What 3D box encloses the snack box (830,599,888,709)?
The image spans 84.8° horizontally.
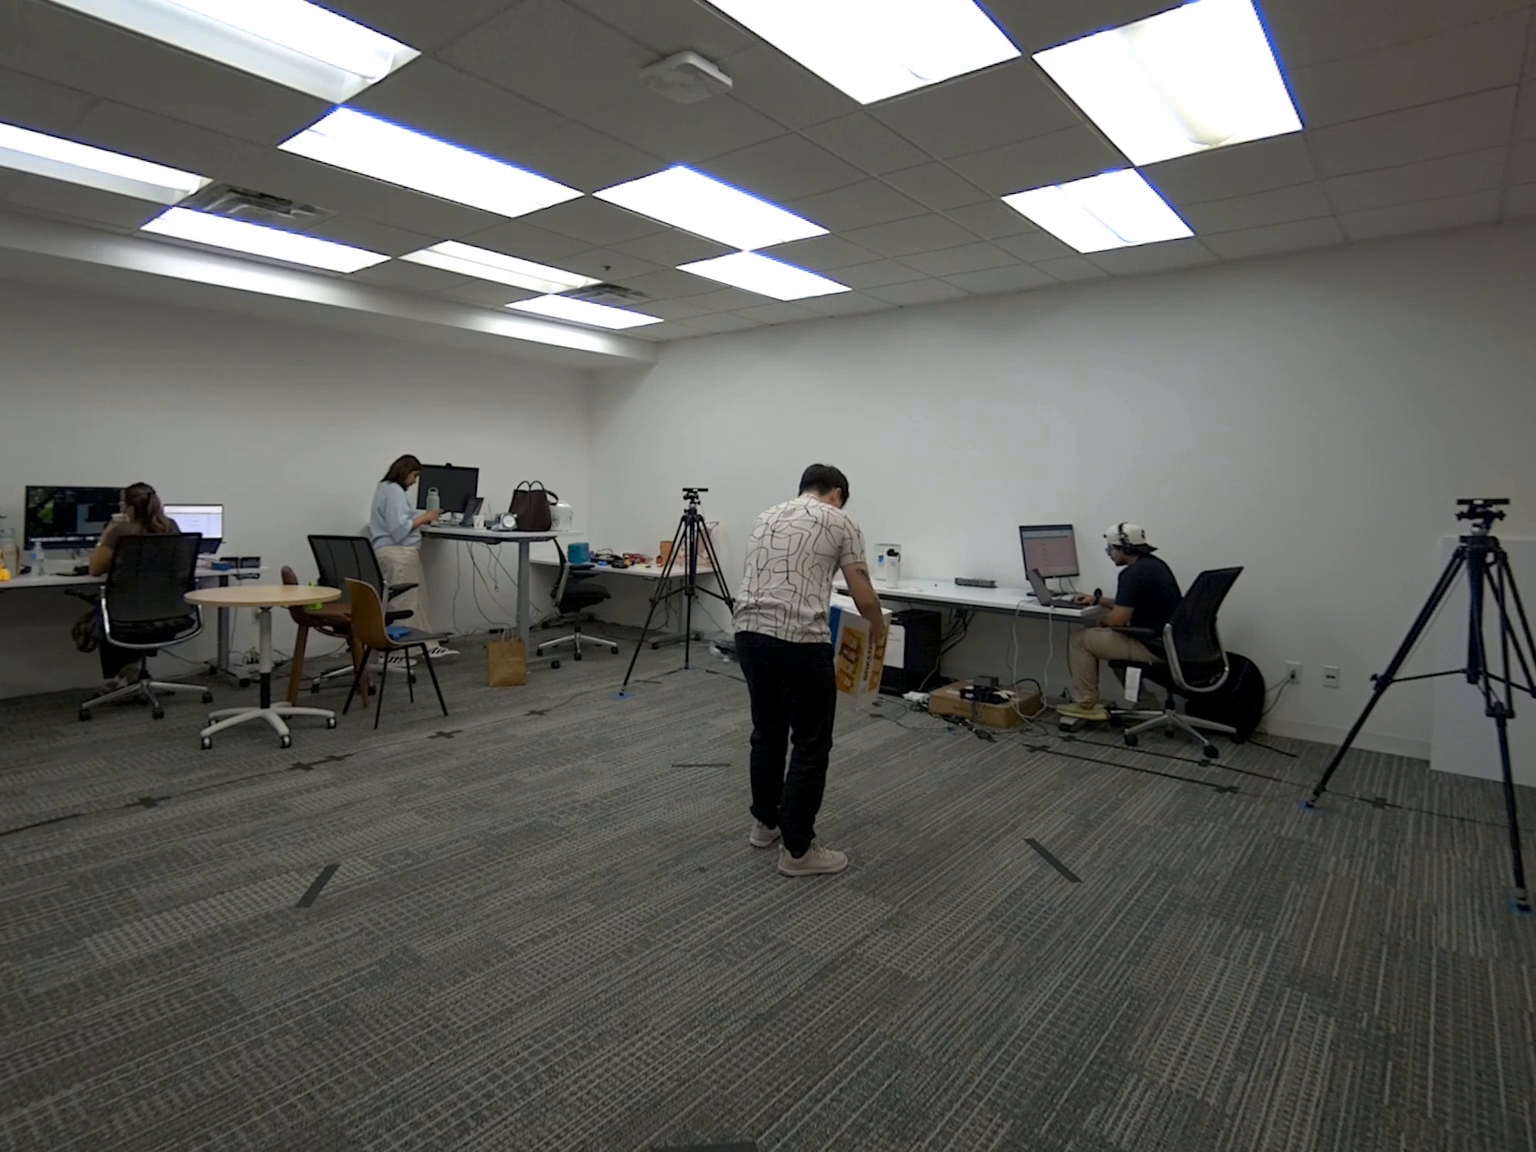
[{"bbox_3d":[0.297,0.314,3.643,0.353,0.401,0.200,16,15,34],"label":"snack box"}]
